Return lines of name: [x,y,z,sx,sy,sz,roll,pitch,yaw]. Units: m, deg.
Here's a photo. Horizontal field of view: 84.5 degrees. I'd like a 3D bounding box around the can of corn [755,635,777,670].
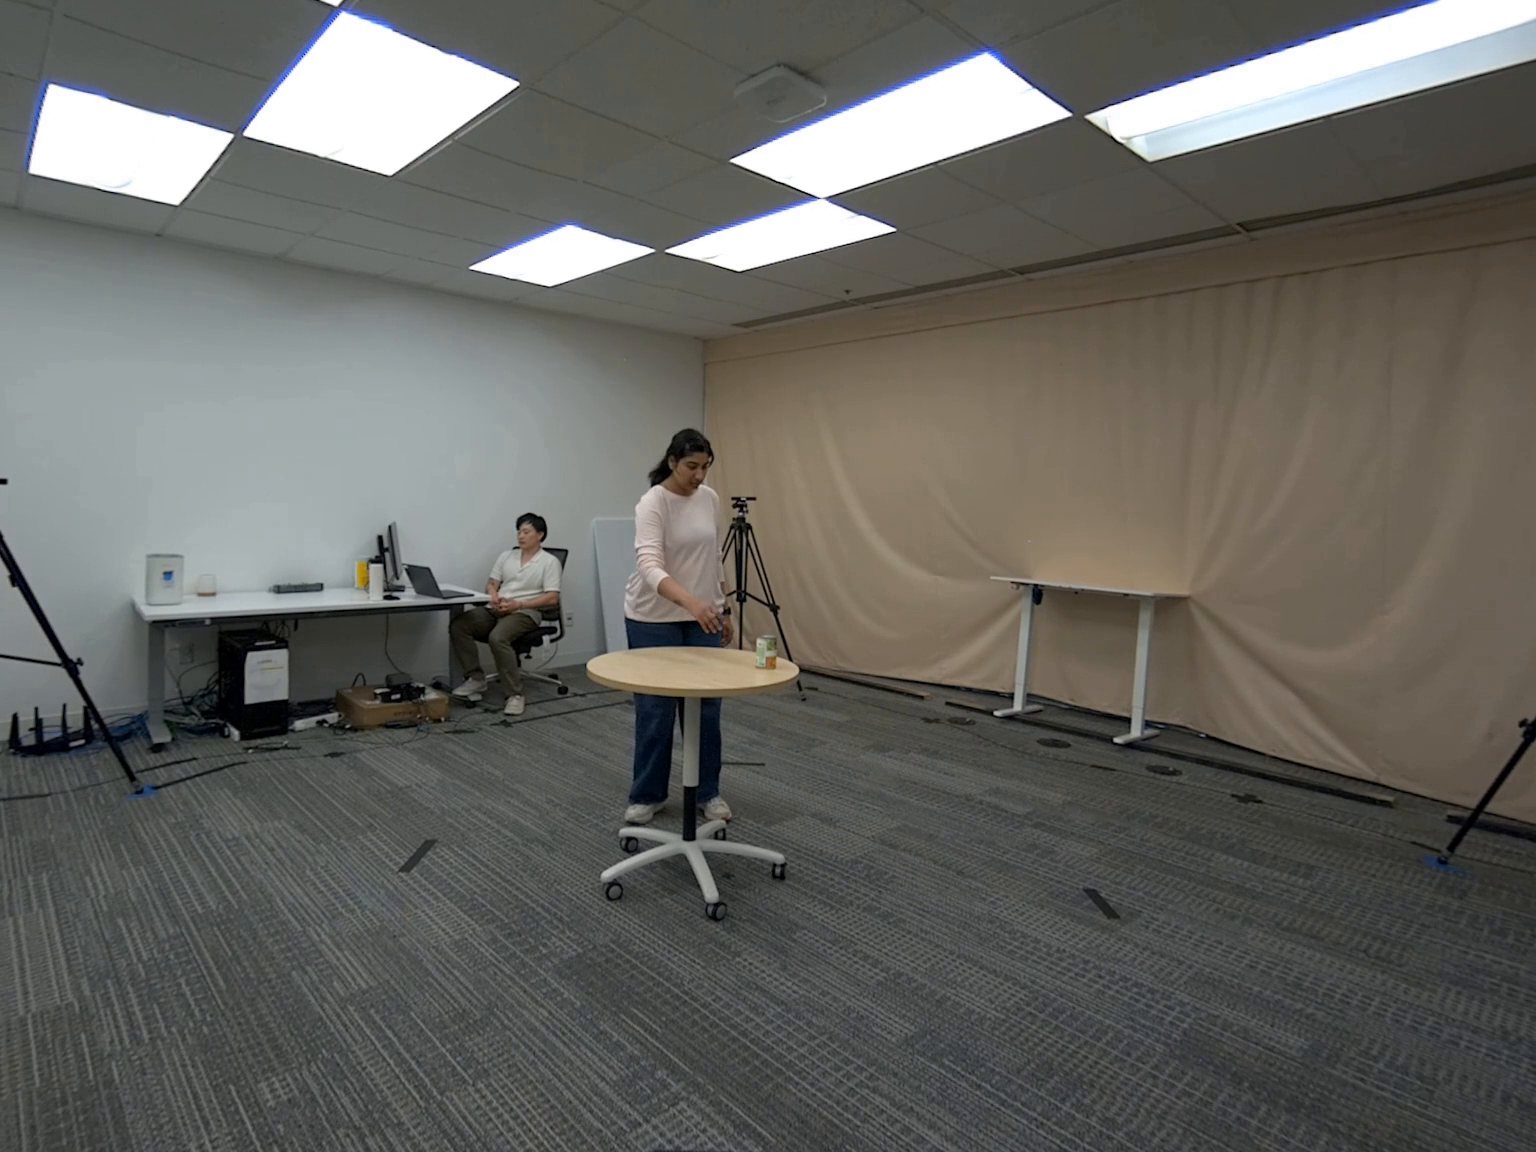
can of corn: [-0.015,0.279,3.049,0.074,0.111,0.074,0,2,-1]
